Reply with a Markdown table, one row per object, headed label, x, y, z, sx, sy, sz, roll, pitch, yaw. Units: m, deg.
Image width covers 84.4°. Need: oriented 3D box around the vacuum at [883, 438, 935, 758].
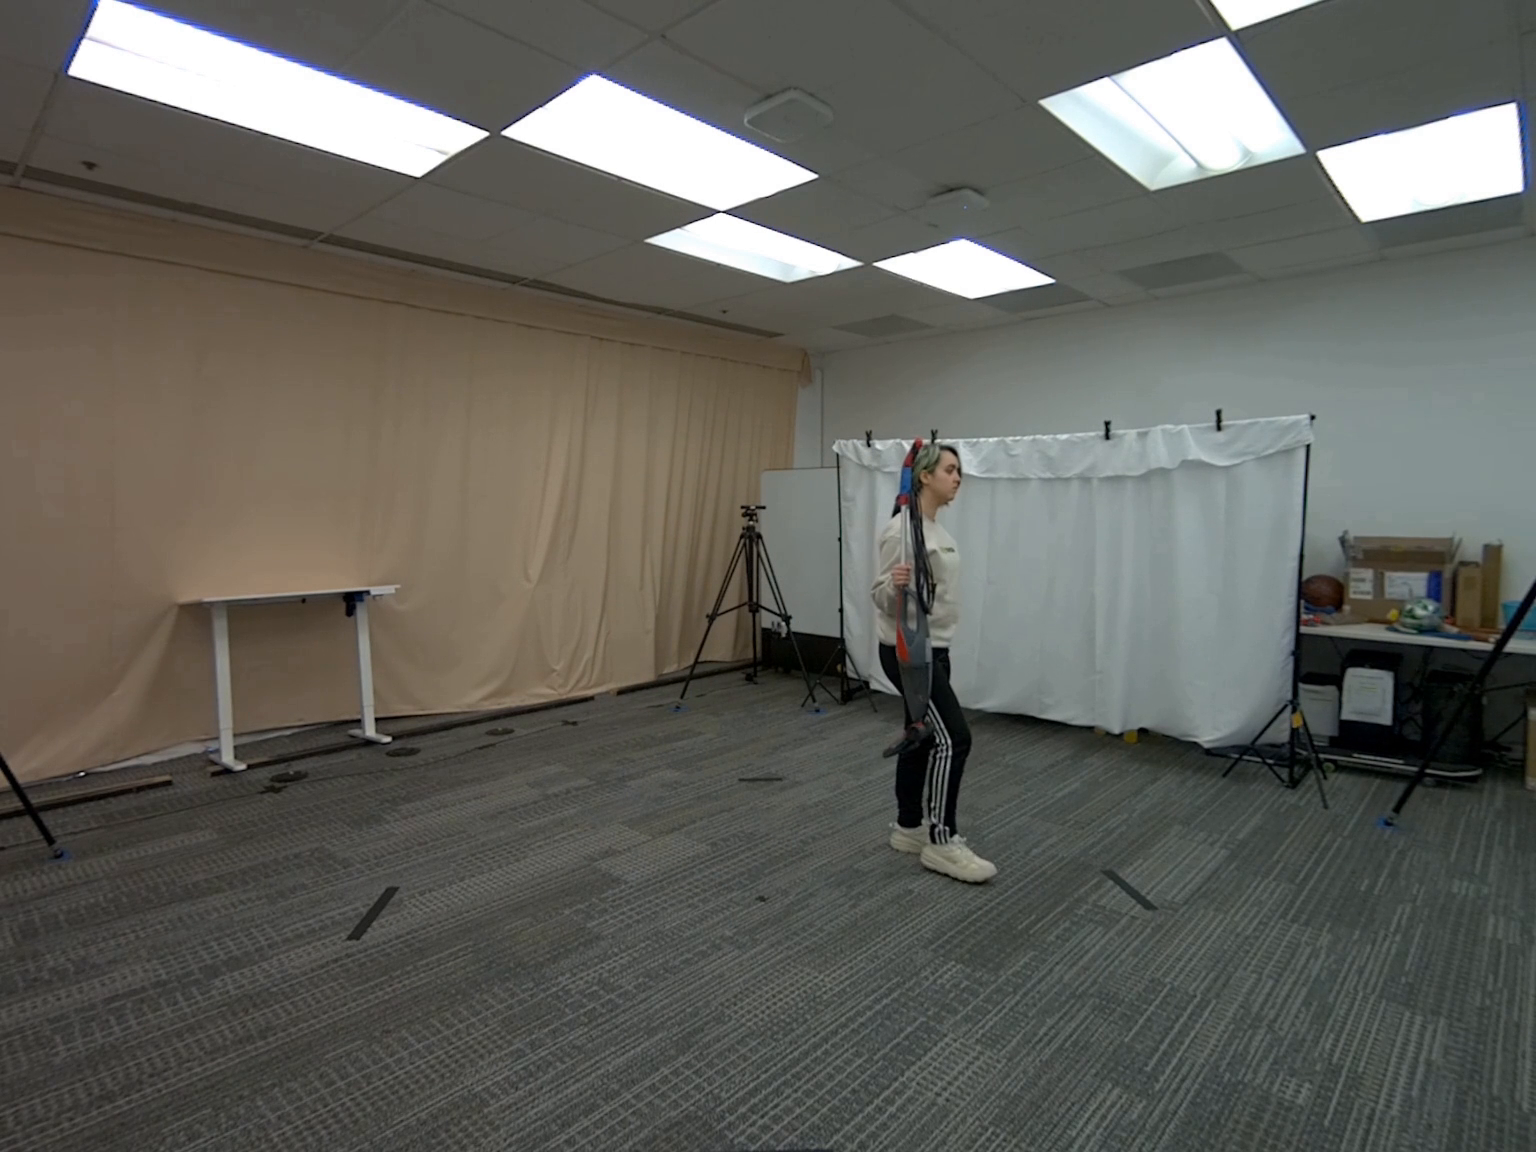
| label | x | y | z | sx | sy | sz | roll | pitch | yaw |
| --- | --- | --- | --- | --- | --- | --- | --- | --- | --- |
| vacuum | 0.525 | 0.052 | 2.944 | 0.148 | 1.050 | 0.245 | 1 | -2 | 28 |
